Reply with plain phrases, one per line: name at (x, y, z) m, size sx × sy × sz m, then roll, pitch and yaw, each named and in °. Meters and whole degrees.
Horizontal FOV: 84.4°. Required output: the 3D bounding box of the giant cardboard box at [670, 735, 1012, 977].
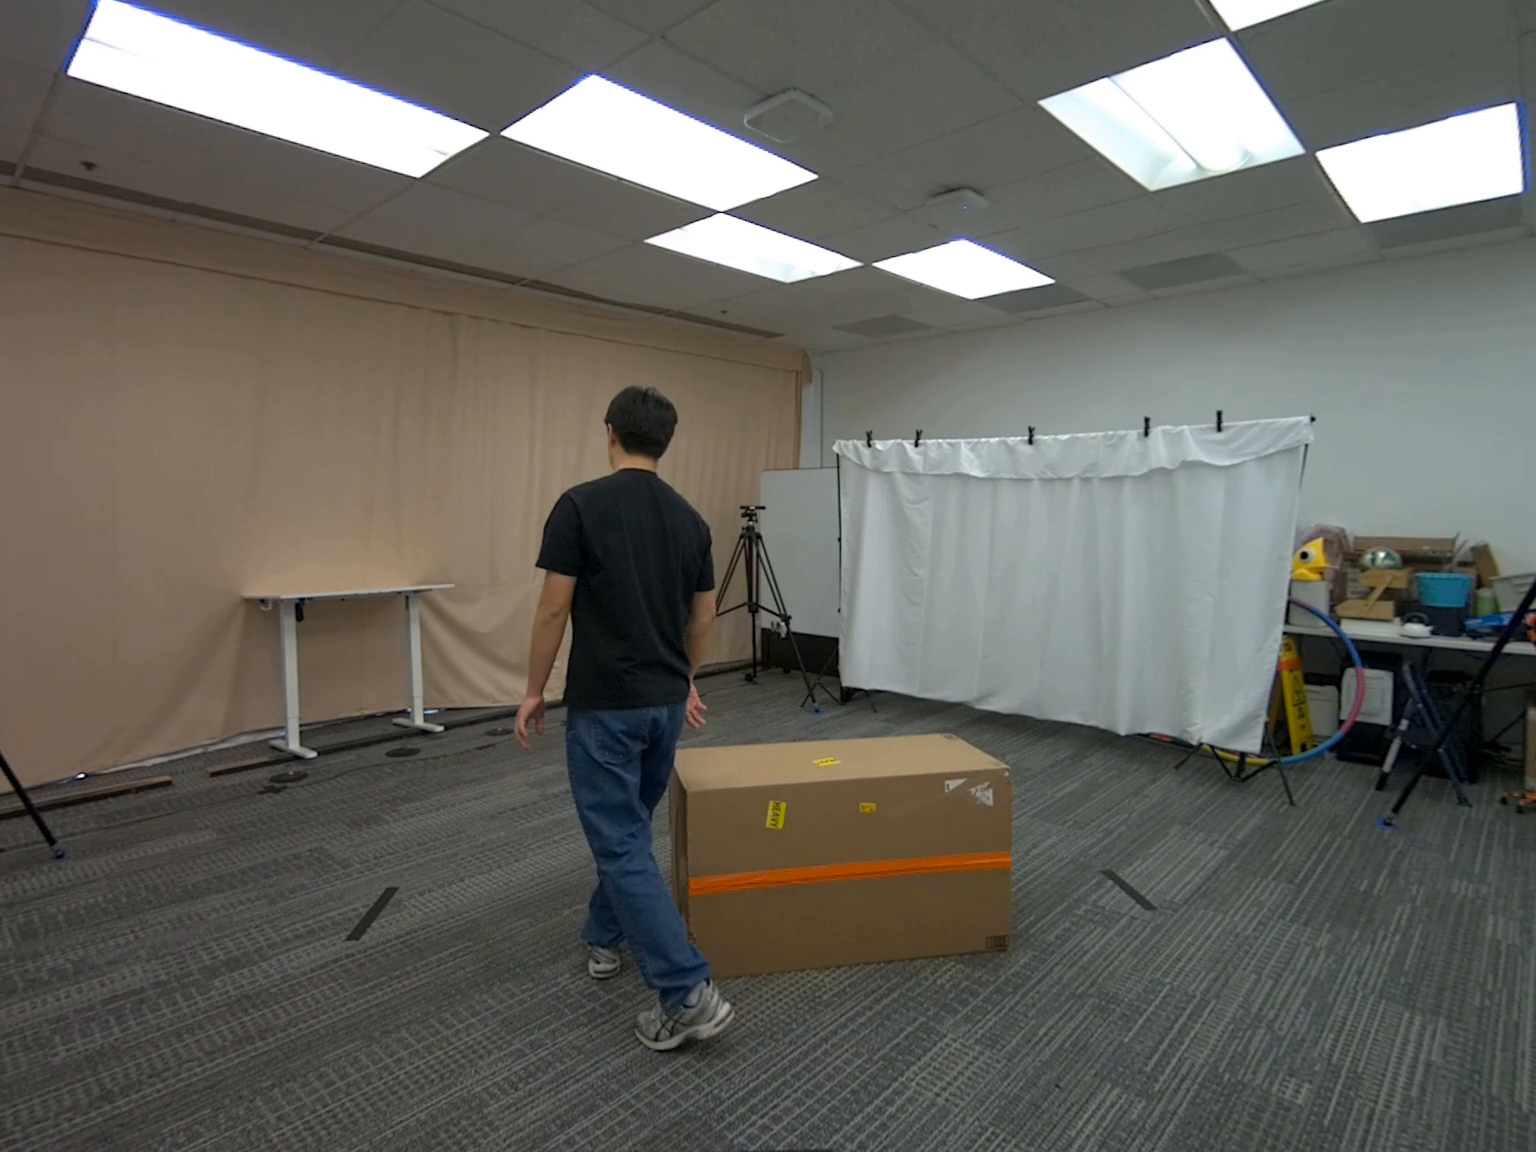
giant cardboard box at (0.216, 0.877, 2.734) m, size 1.015 × 0.582 × 0.453 m, roll -2°, pitch 4°, yaw -11°
